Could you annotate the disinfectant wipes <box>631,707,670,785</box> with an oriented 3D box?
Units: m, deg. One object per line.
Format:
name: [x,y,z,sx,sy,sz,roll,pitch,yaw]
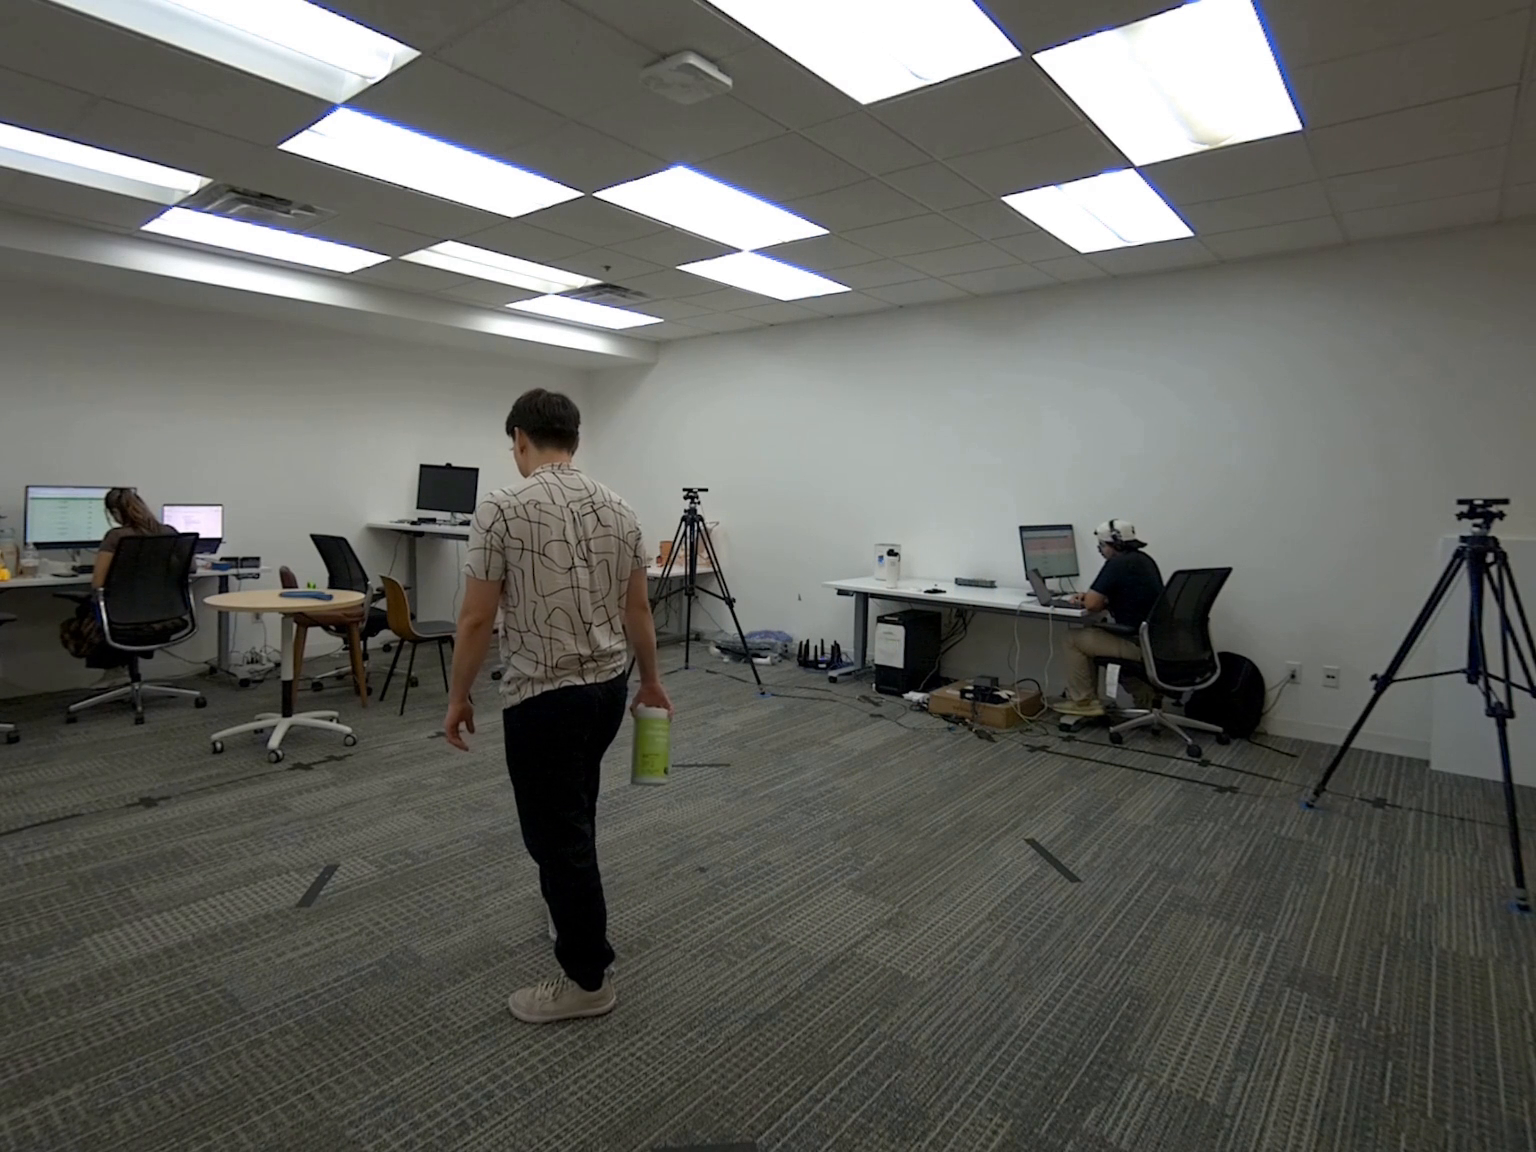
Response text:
disinfectant wipes: [-0.365,0.506,2.488,0.118,0.221,0.116,1,-18,-1]
